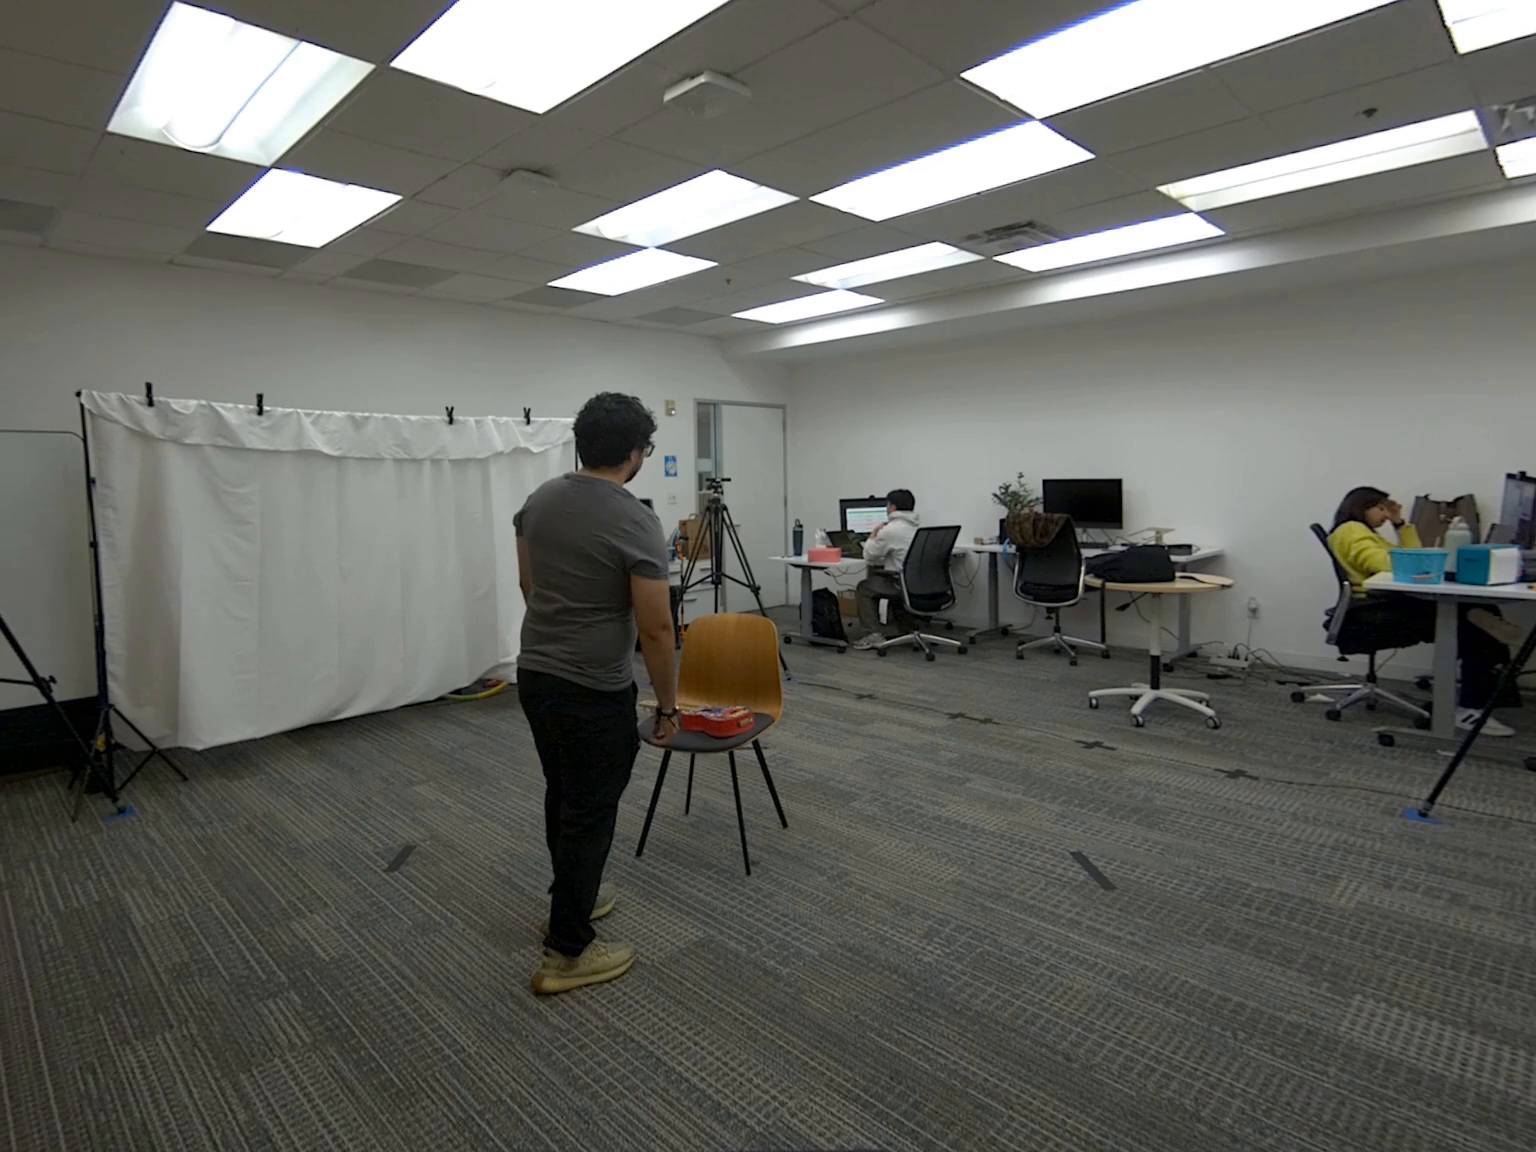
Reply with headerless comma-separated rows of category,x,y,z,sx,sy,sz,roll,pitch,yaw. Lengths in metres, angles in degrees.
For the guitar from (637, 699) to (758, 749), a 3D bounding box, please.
guitar,-0.262,0.522,3.217,0.512,0.070,0.188,2,7,44
